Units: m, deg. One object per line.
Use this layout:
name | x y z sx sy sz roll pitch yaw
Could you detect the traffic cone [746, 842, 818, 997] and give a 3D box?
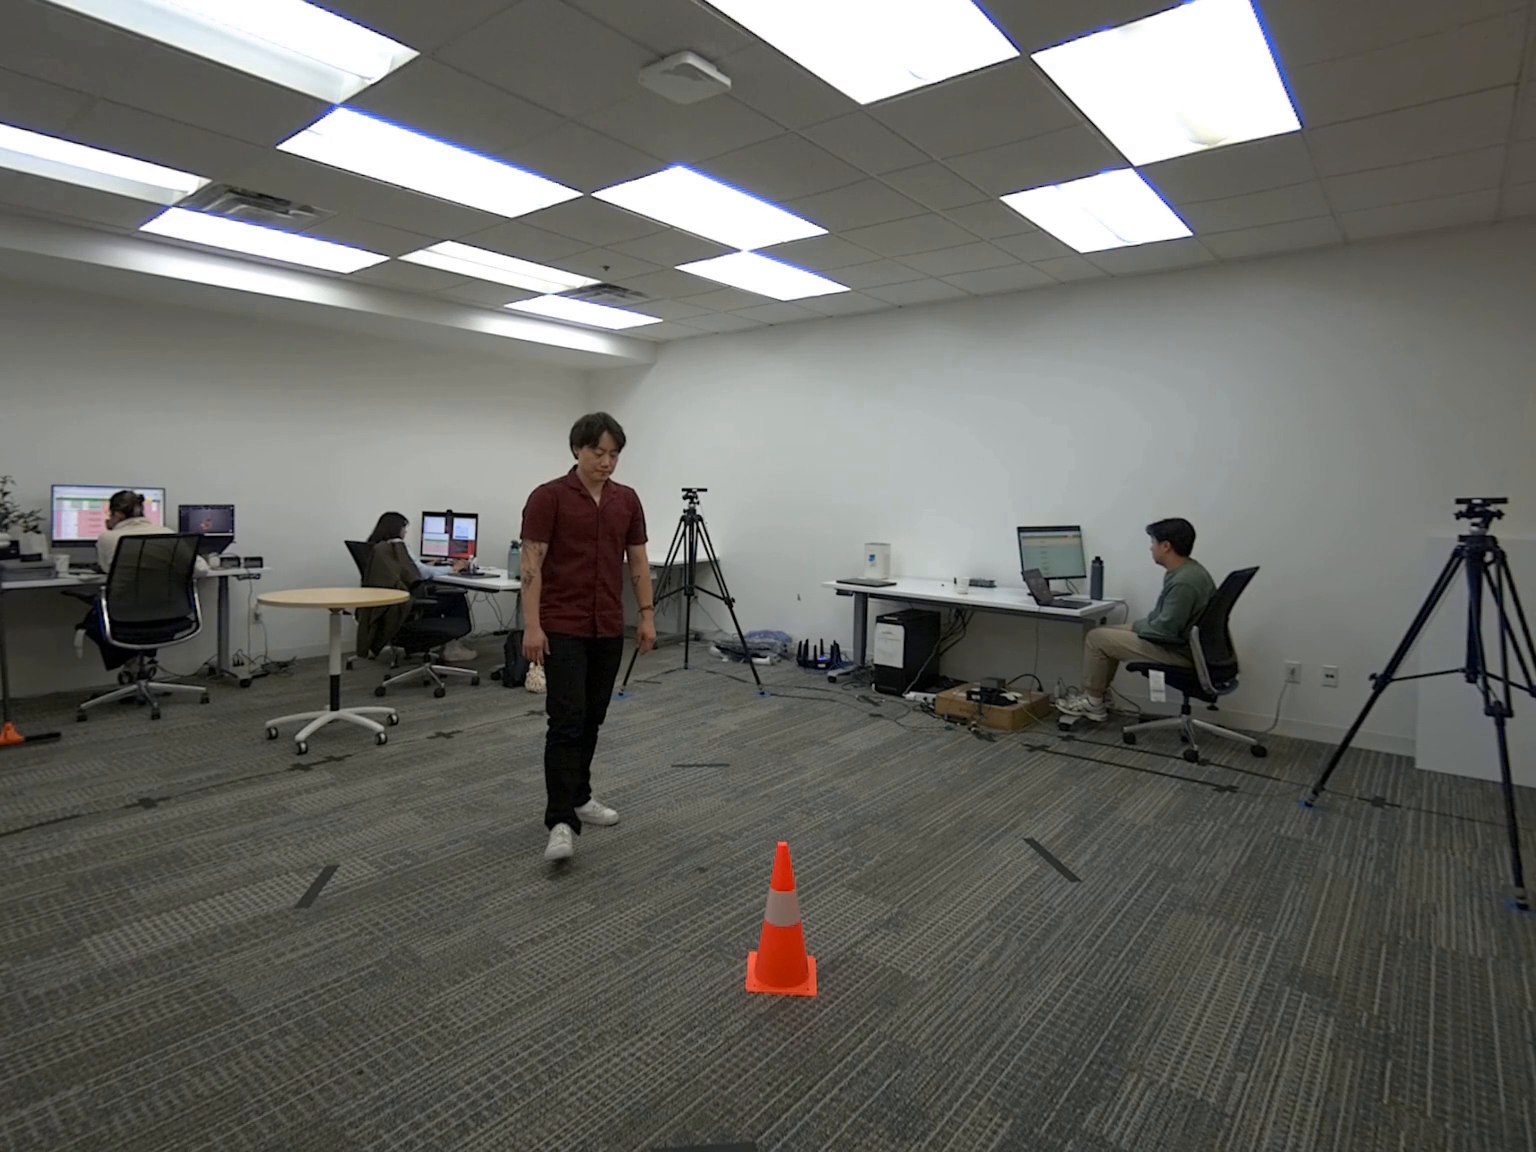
traffic cone | 0.044 0.956 2.428 0.206 0.382 0.202 2 4 6
